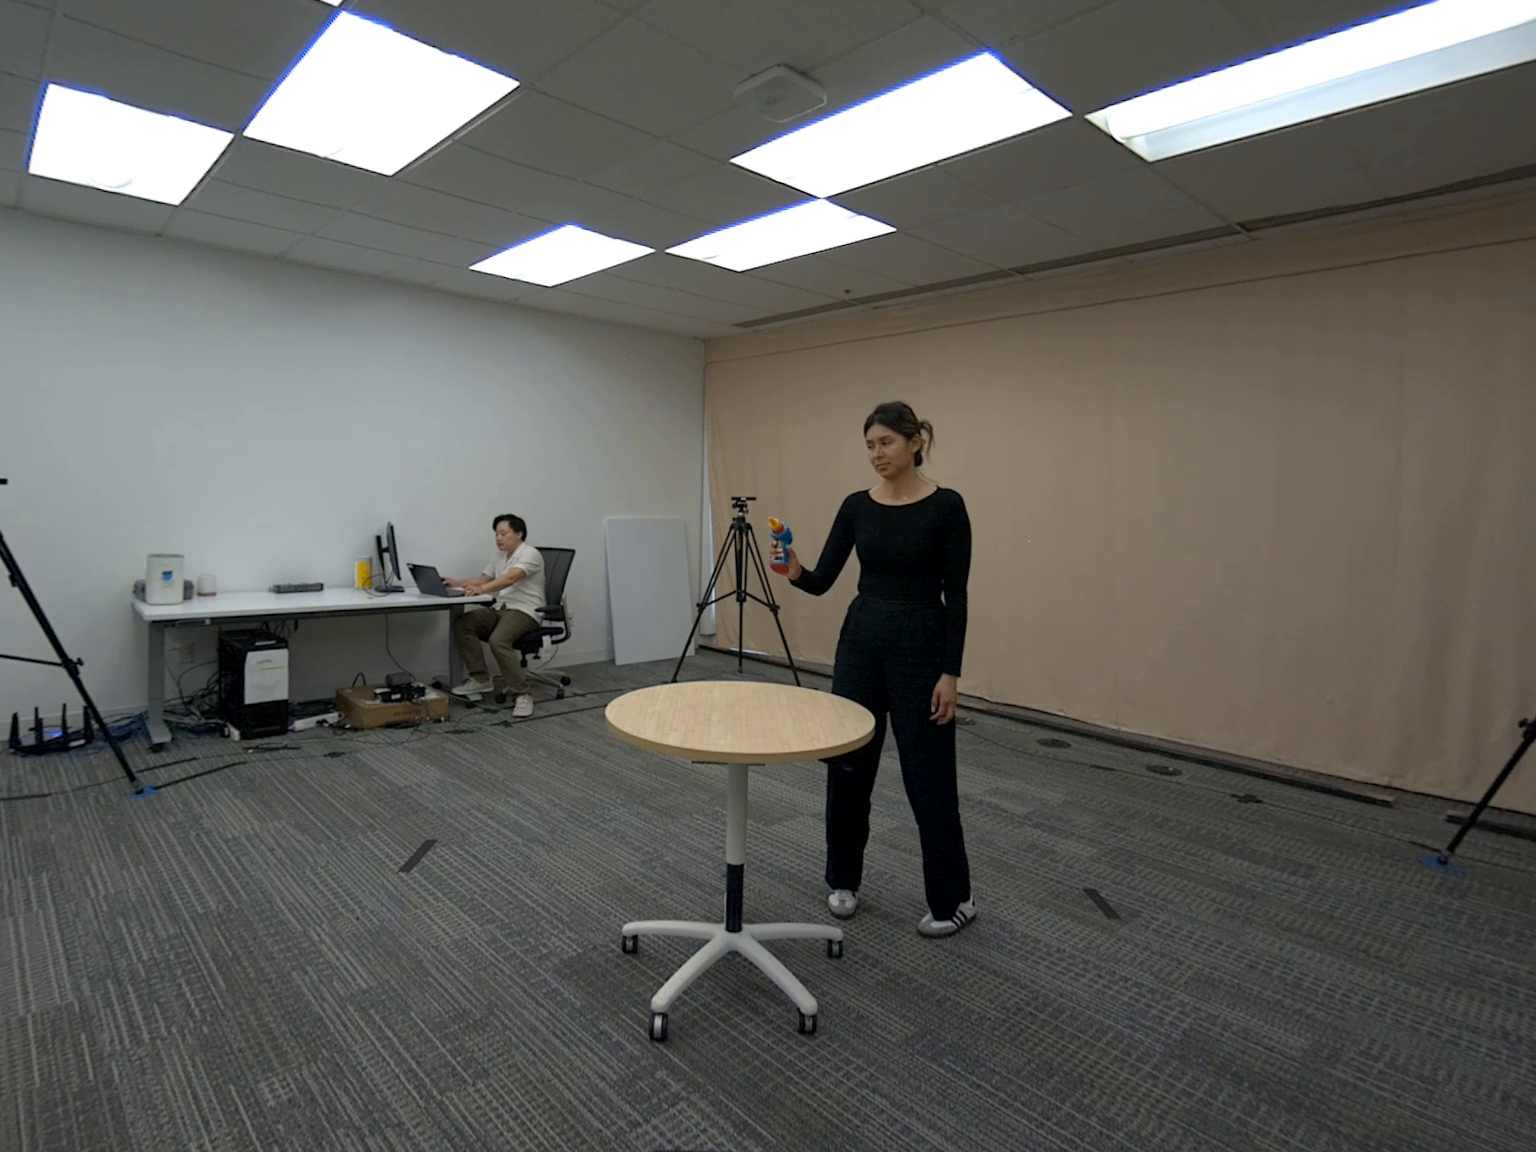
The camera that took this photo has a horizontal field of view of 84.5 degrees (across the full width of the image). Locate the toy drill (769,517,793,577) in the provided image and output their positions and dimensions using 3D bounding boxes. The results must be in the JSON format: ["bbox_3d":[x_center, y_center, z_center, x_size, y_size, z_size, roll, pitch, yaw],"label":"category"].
[{"bbox_3d":[0.033,-0.097,2.538,0.062,0.148,0.165,-4,-27,16],"label":"toy drill"}]
